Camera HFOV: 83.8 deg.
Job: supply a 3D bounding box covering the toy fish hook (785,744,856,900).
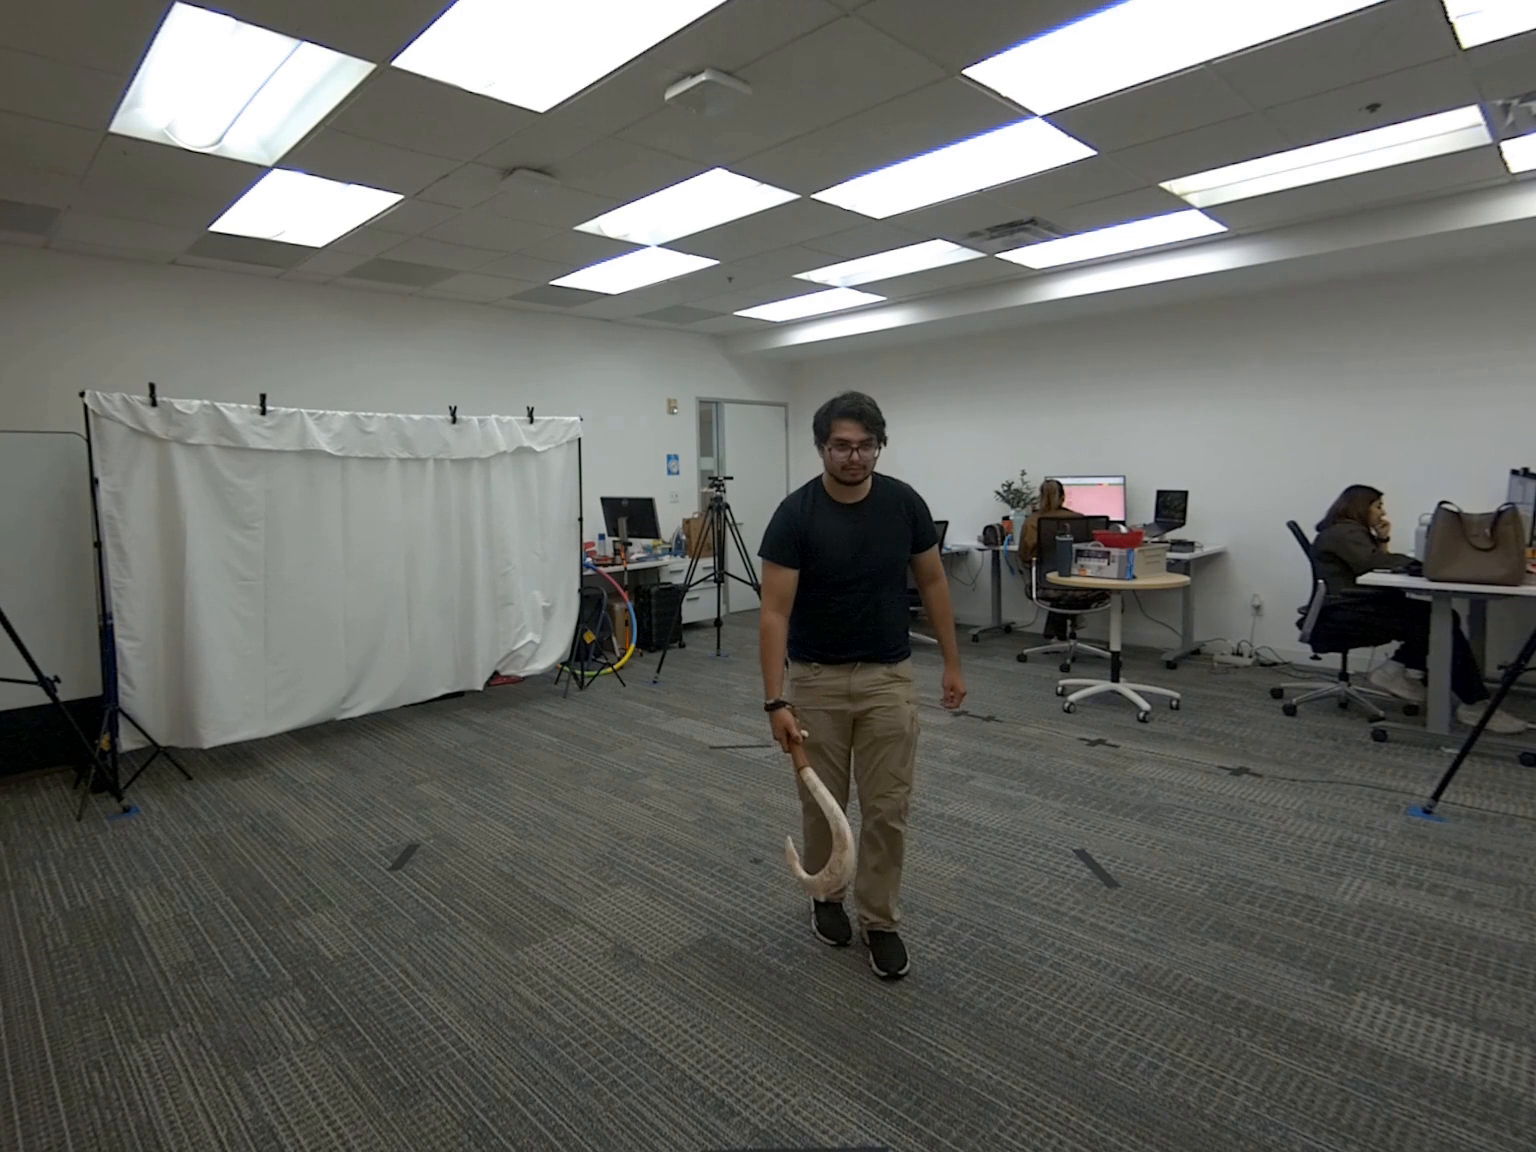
[{"bbox_3d":[0.083,0.581,2.225,0.046,0.524,0.225,23,-57,-36],"label":"toy fish hook"}]
